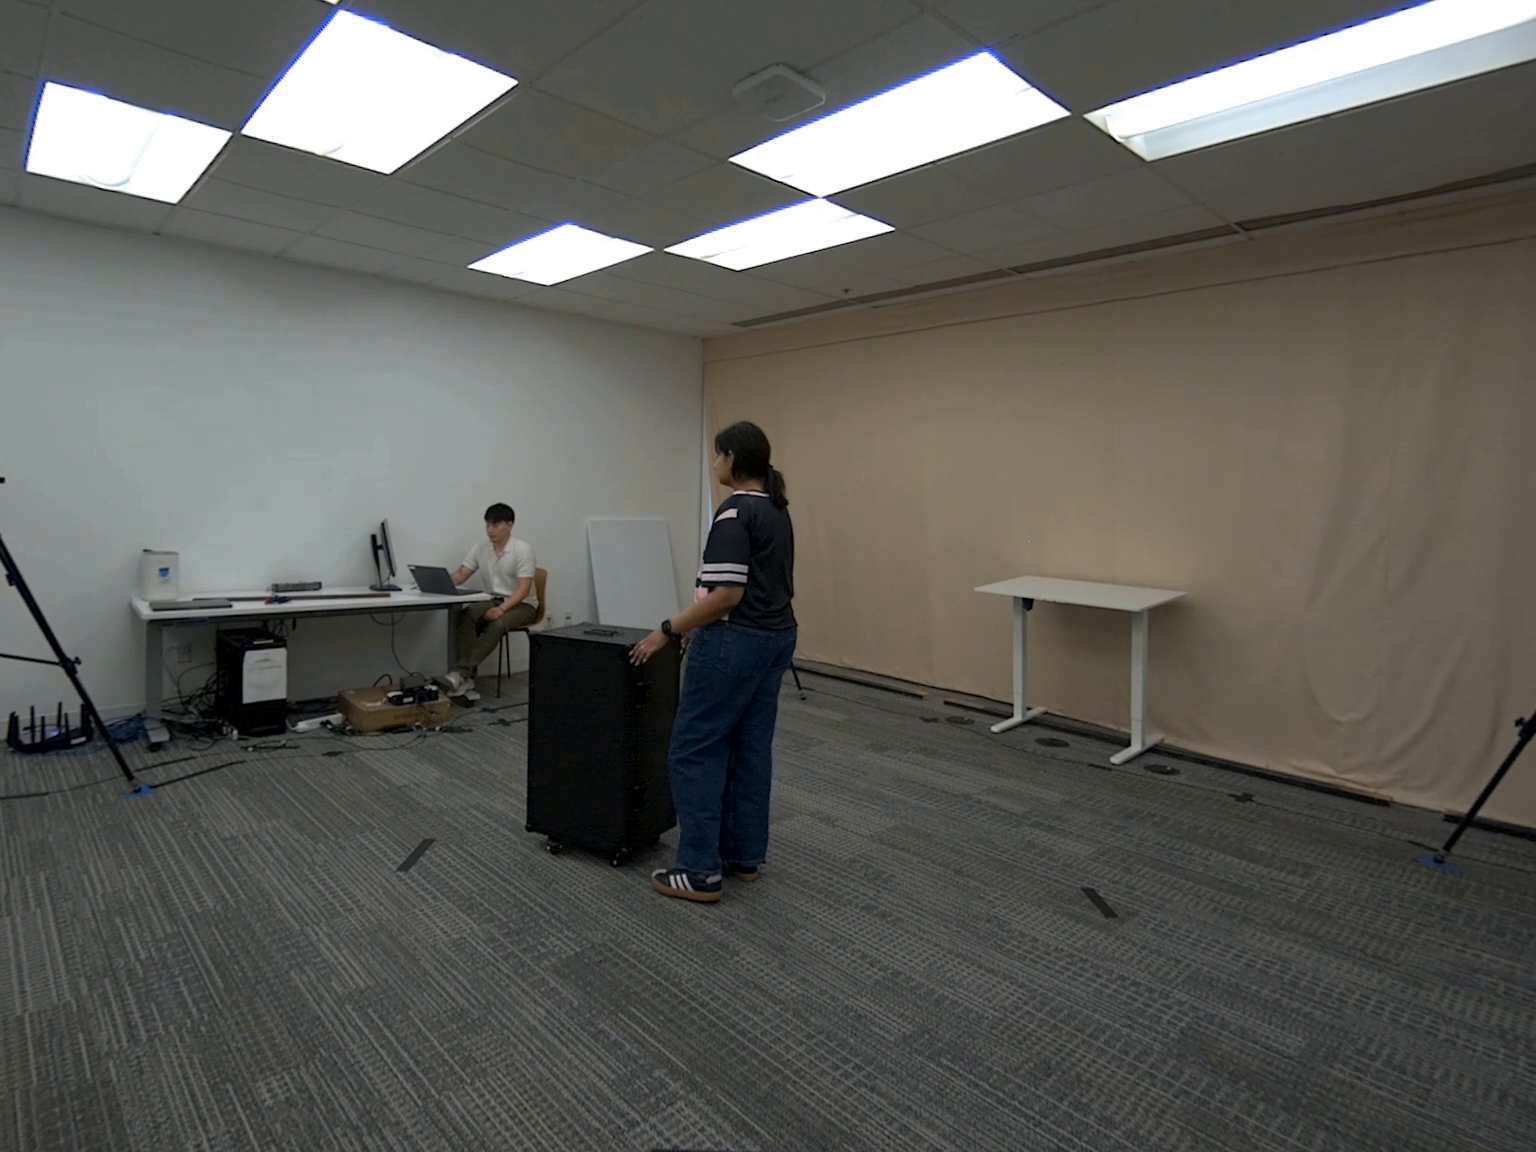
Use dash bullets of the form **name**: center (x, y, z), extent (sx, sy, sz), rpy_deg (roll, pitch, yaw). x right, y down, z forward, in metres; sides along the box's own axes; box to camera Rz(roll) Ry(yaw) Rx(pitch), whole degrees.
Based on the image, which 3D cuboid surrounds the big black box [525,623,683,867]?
- **big black box**: center (-0.656, 0.652, 3.332), extent (0.534, 0.867, 0.378), rpy_deg (4, 3, 26)
